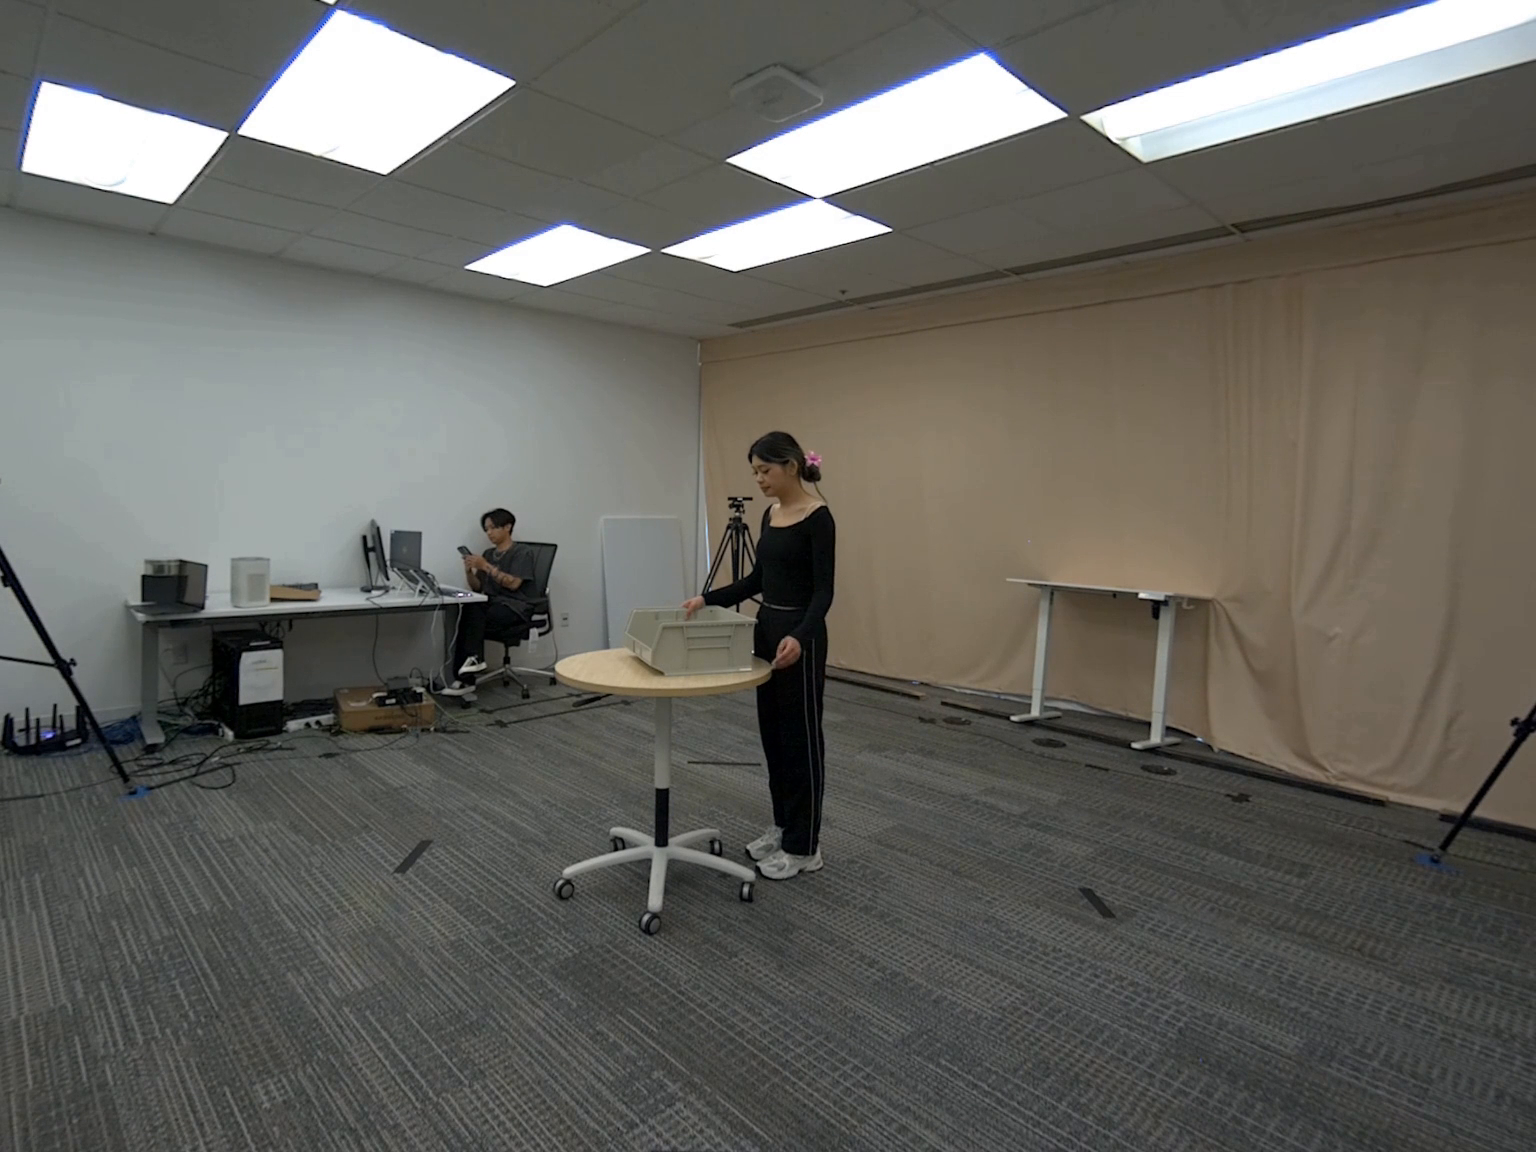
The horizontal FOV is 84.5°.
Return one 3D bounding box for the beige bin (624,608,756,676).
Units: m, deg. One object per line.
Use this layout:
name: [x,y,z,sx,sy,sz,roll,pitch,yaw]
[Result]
beige bin: [-0.297,0.223,3.030,0.371,0.188,0.430,1,4,-21]
